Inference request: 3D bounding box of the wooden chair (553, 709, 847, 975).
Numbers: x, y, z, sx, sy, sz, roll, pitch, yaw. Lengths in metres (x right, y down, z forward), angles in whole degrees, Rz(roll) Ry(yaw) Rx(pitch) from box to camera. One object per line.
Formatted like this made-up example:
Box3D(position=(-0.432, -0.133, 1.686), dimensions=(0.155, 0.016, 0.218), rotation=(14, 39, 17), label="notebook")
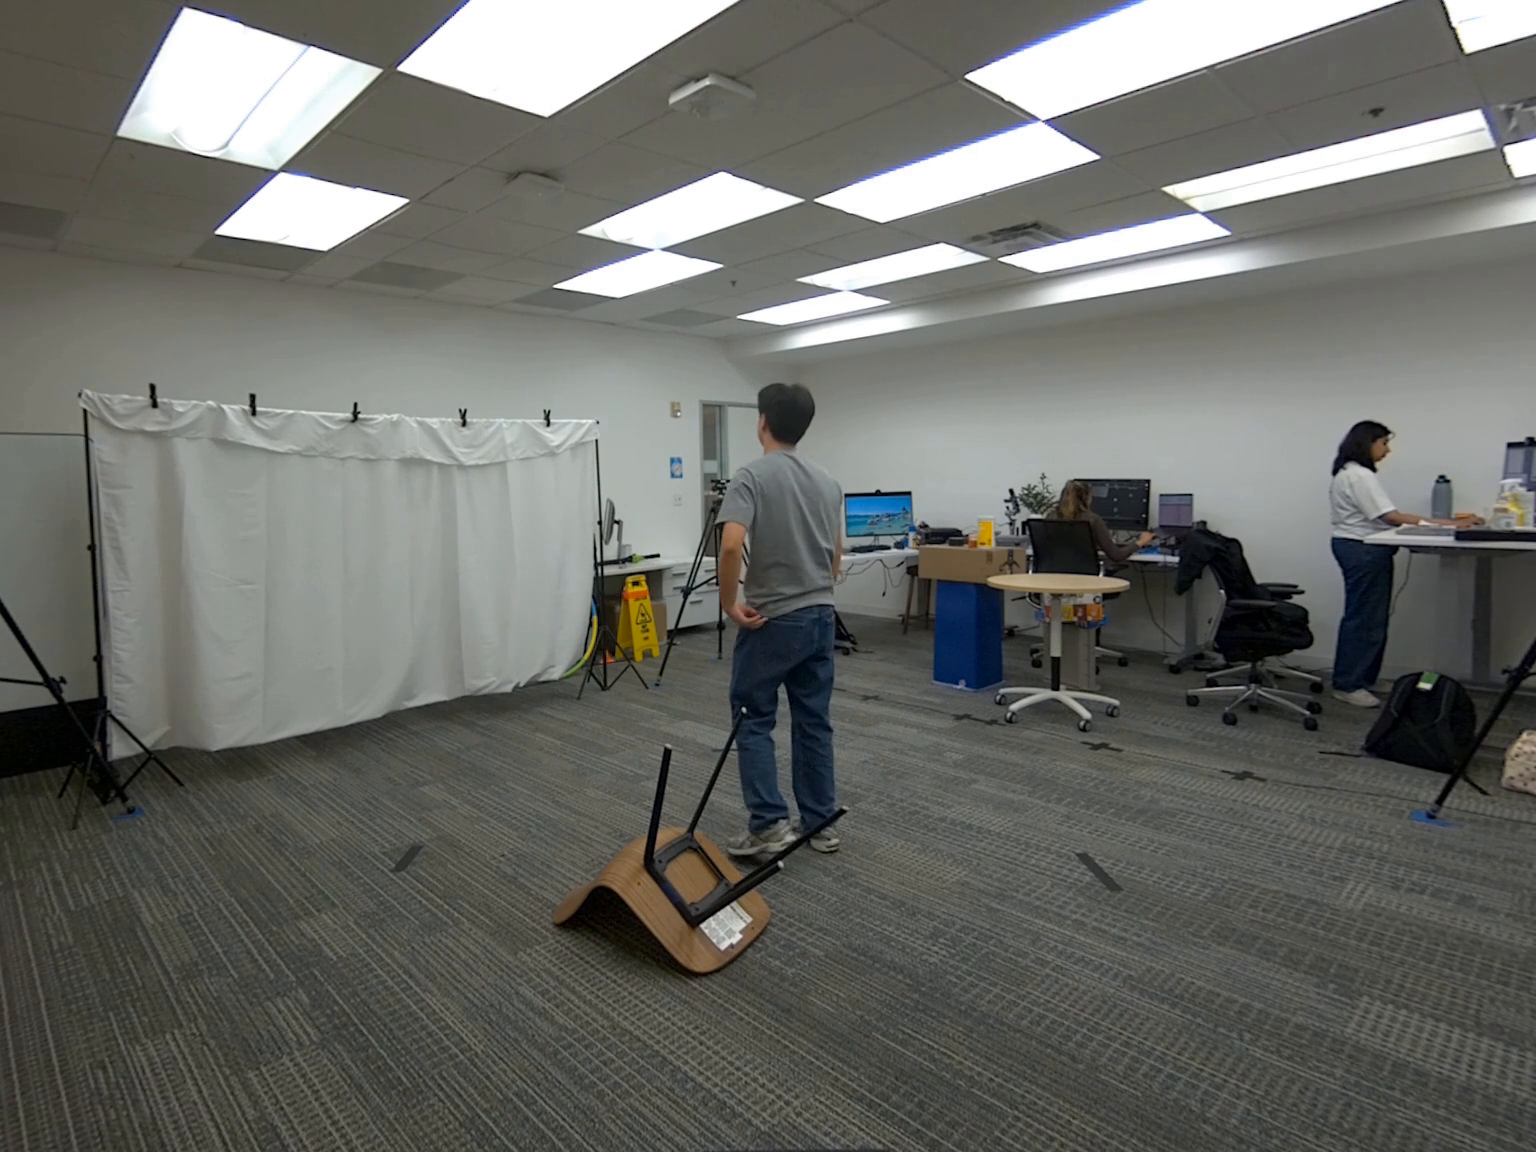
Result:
Box3D(position=(-0.232, 0.935, 2.642), dimensions=(0.536, 0.874, 0.468), rotation=(45, 24, 18), label="wooden chair")
